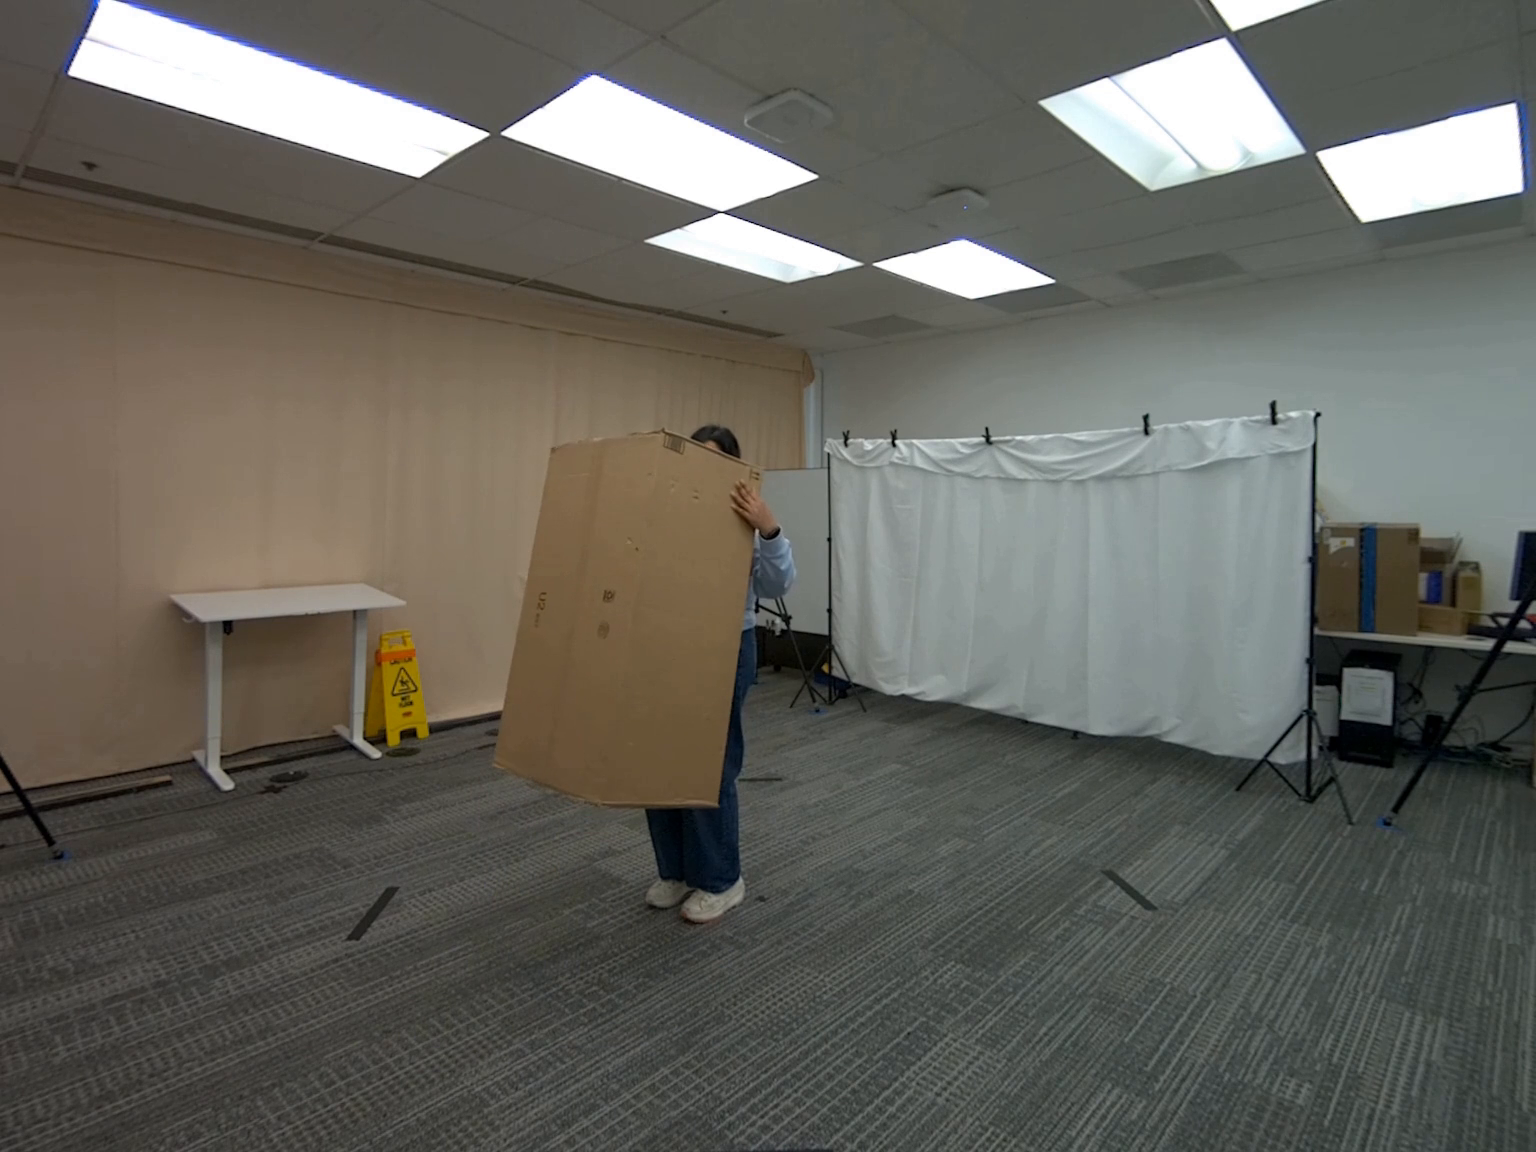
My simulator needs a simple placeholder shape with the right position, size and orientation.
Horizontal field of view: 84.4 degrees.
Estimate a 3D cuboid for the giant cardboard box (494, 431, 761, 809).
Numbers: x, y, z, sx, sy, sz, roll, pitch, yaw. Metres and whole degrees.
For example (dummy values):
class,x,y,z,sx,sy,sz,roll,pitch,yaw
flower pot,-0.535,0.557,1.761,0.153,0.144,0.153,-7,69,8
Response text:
class,x,y,z,sx,sy,sz,roll,pitch,yaw
giant cardboard box,-0.420,0.131,2.578,0.431,1.031,0.603,16,-12,-43
